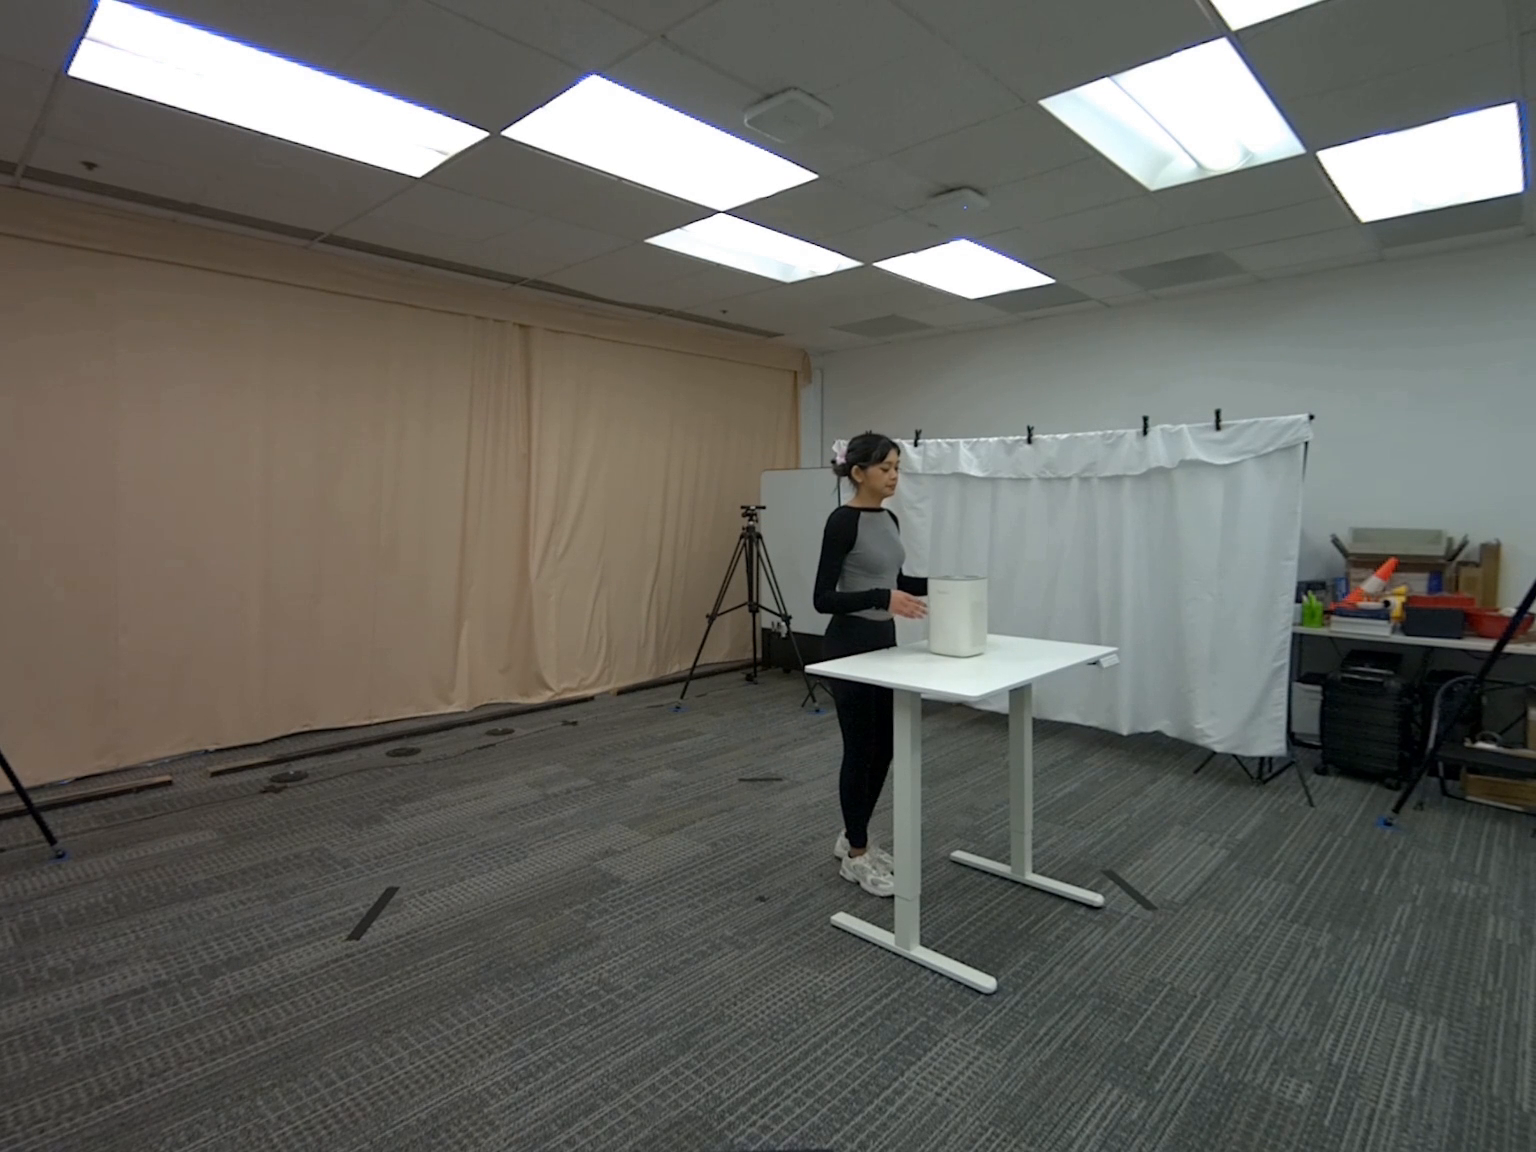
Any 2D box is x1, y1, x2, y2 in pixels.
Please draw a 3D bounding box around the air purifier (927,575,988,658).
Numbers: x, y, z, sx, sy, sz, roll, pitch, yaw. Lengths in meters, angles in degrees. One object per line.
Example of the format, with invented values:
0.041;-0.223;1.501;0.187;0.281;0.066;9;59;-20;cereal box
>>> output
0.656;0.135;2.884;0.177;0.265;0.166;2;6;45;air purifier
